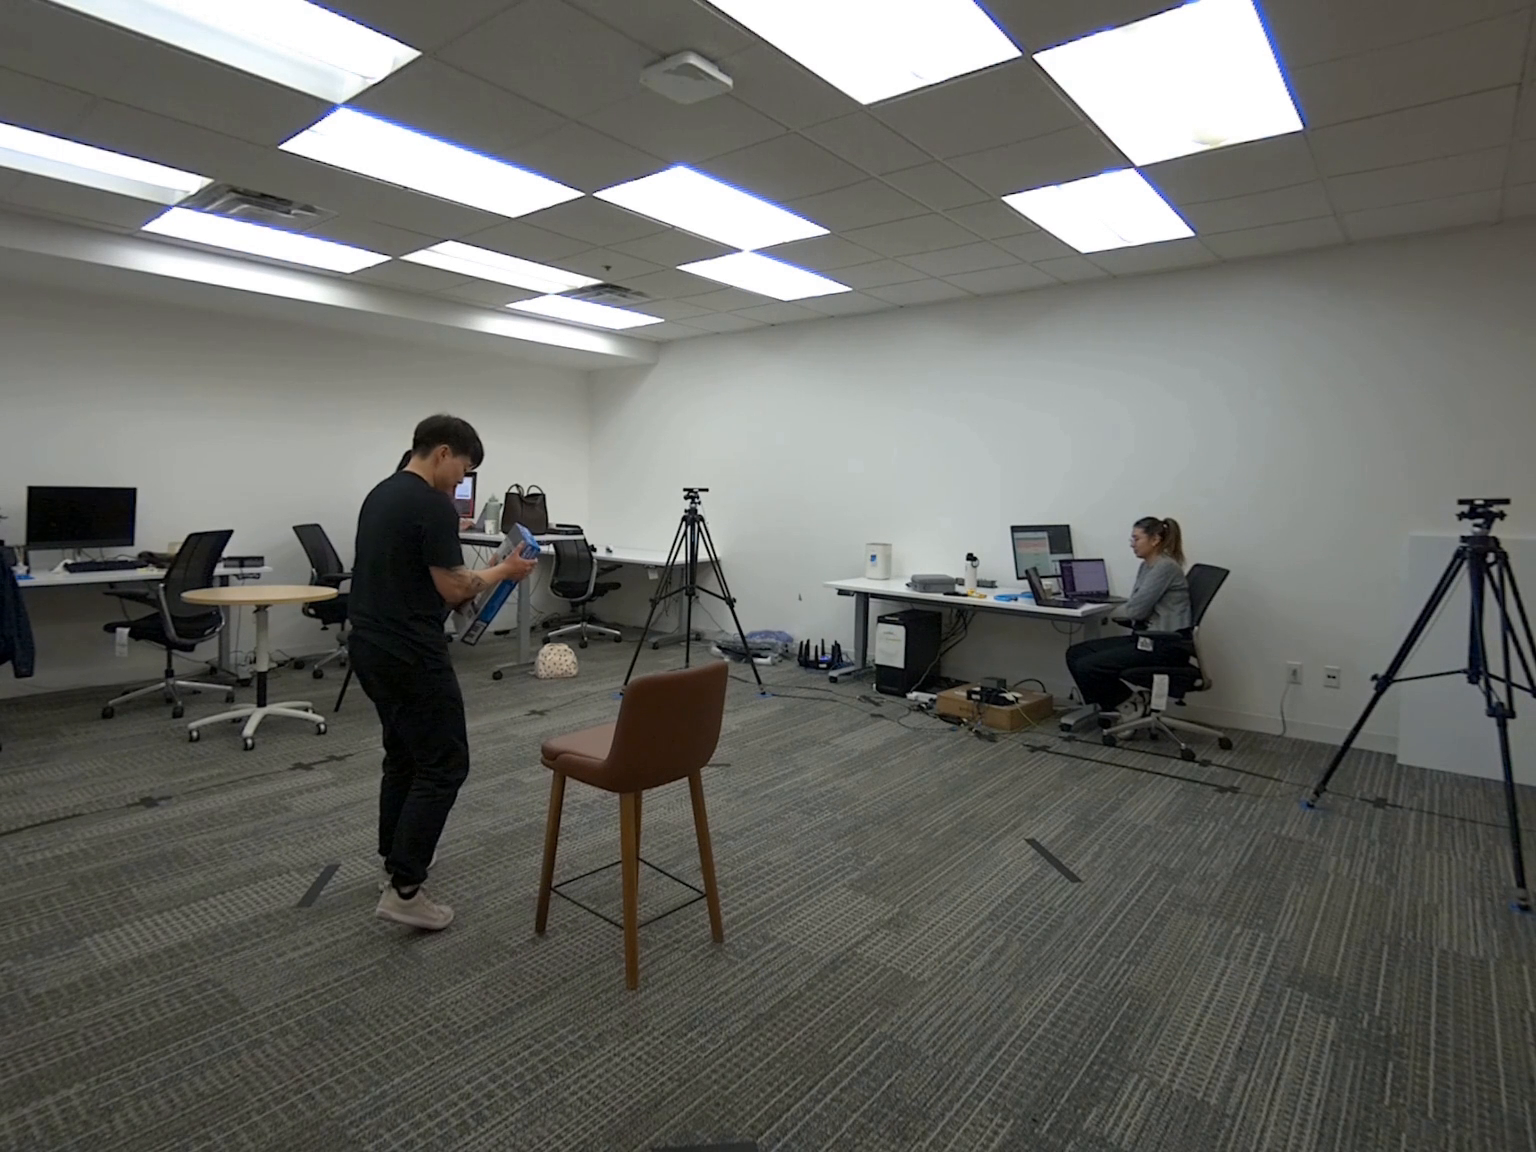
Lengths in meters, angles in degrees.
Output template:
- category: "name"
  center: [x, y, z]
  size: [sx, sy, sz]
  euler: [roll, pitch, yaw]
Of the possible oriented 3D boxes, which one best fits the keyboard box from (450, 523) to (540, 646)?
- category: "keyboard box"
  center: [-1.009, 0.033, 3.088]
  size: [0.057, 0.436, 0.183]
  euler: [30, 10, -39]
